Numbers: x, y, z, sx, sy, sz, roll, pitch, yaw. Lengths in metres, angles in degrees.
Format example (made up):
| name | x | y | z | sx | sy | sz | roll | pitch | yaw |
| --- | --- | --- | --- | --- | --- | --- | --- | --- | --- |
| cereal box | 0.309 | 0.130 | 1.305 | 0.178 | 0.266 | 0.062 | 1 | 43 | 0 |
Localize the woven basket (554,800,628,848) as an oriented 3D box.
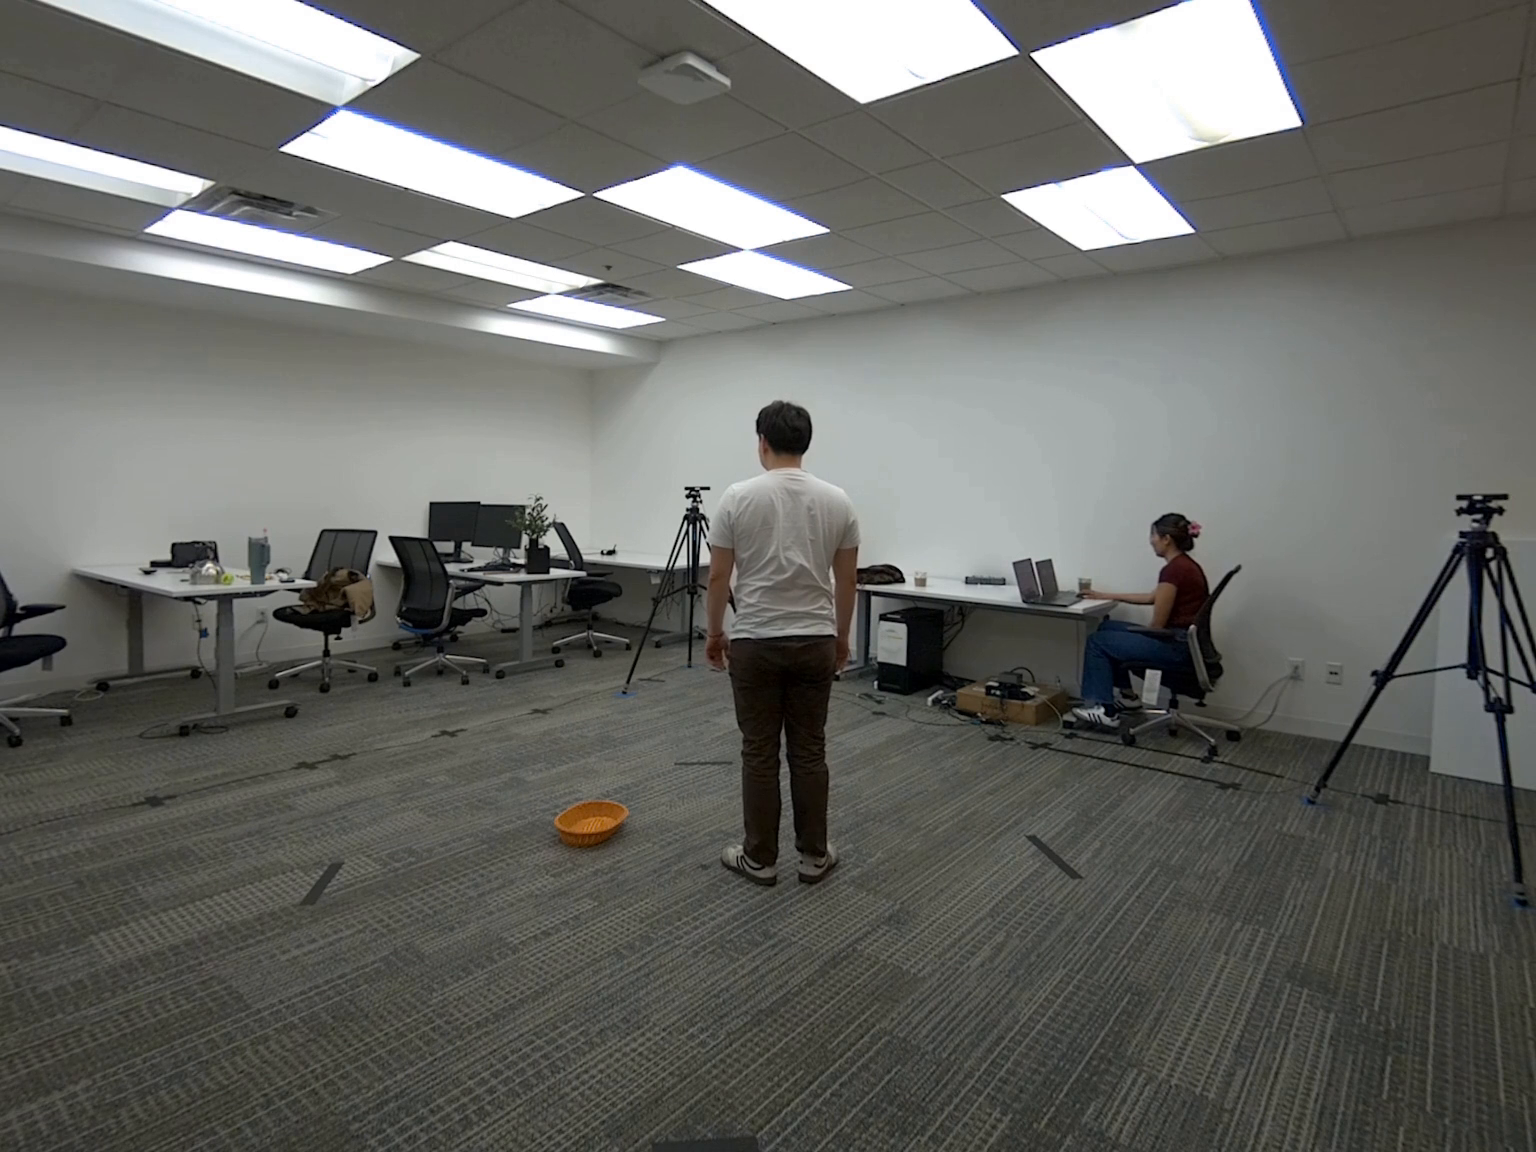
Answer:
| name | x | y | z | sx | sy | sz | roll | pitch | yaw |
| --- | --- | --- | --- | --- | --- | --- | --- | --- | --- |
| woven basket | -0.716 | 0.990 | 3.407 | 0.258 | 0.073 | 0.344 | 5 | 6 | 20 |
